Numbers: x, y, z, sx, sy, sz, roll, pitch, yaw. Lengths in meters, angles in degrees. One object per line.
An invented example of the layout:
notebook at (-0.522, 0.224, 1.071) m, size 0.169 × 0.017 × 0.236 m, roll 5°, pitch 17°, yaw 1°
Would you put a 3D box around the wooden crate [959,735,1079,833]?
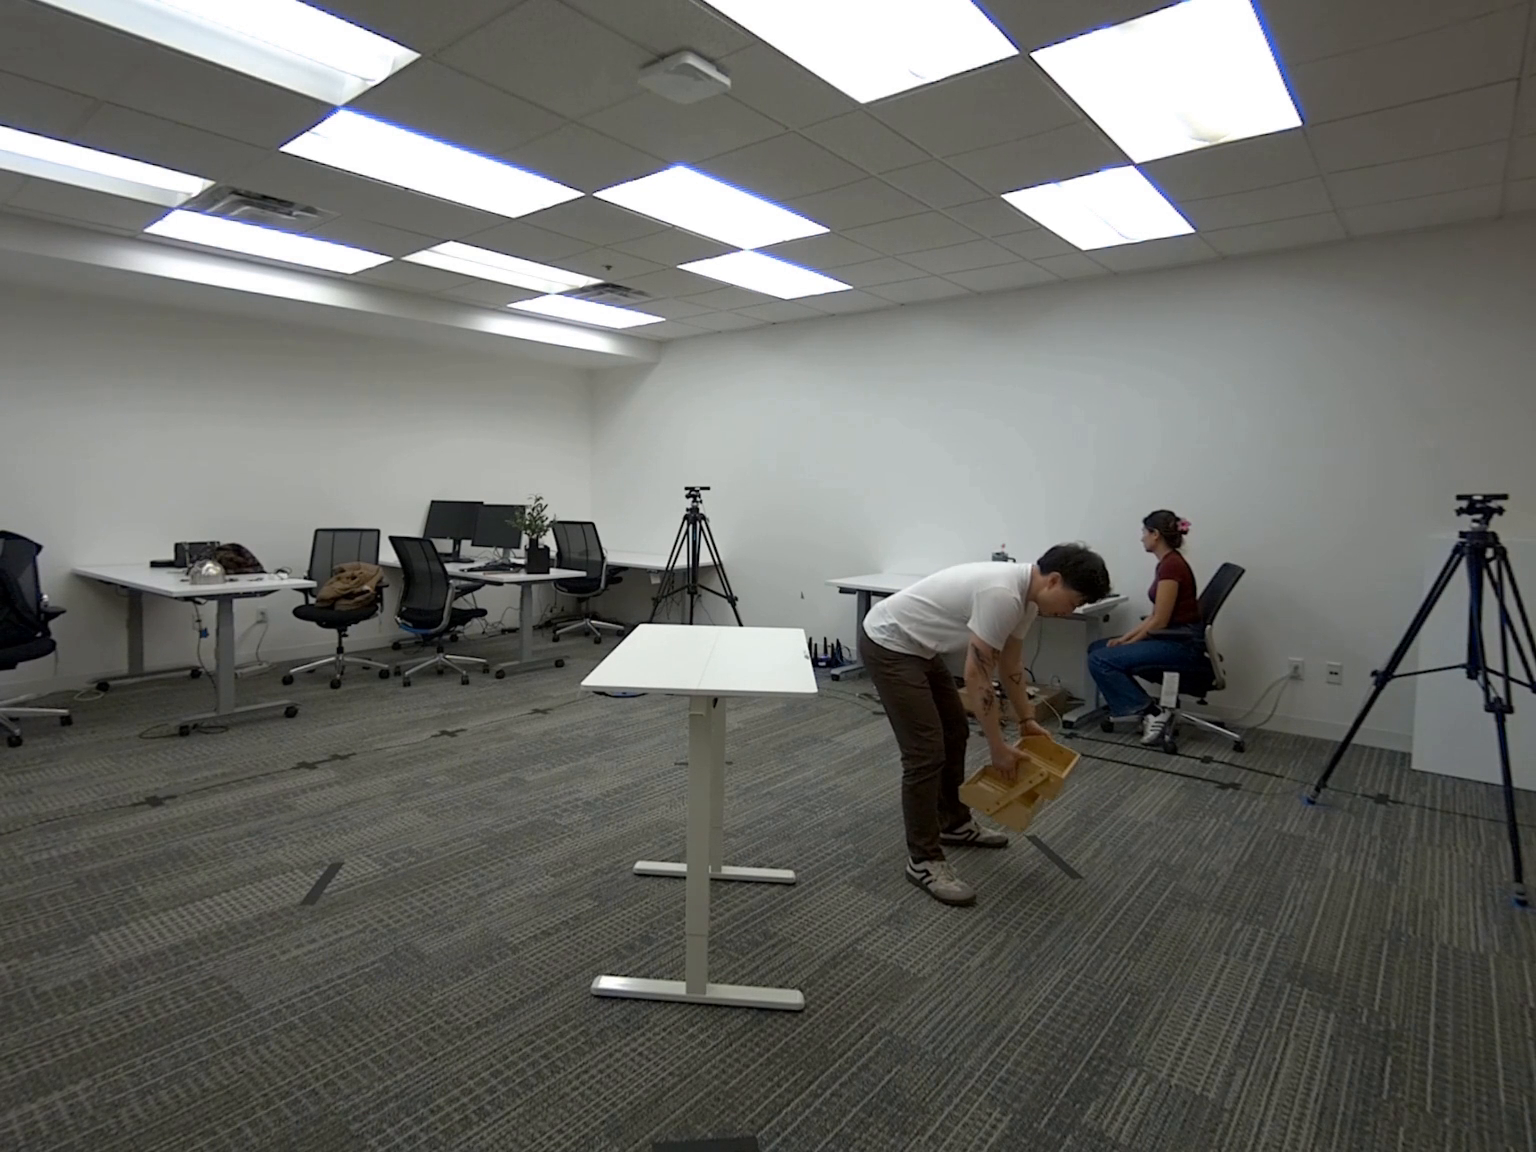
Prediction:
wooden crate at (0.898, 0.714, 3.082) m, size 0.313 × 0.271 × 0.316 m, roll 25°, pitch 17°, yaw 29°
